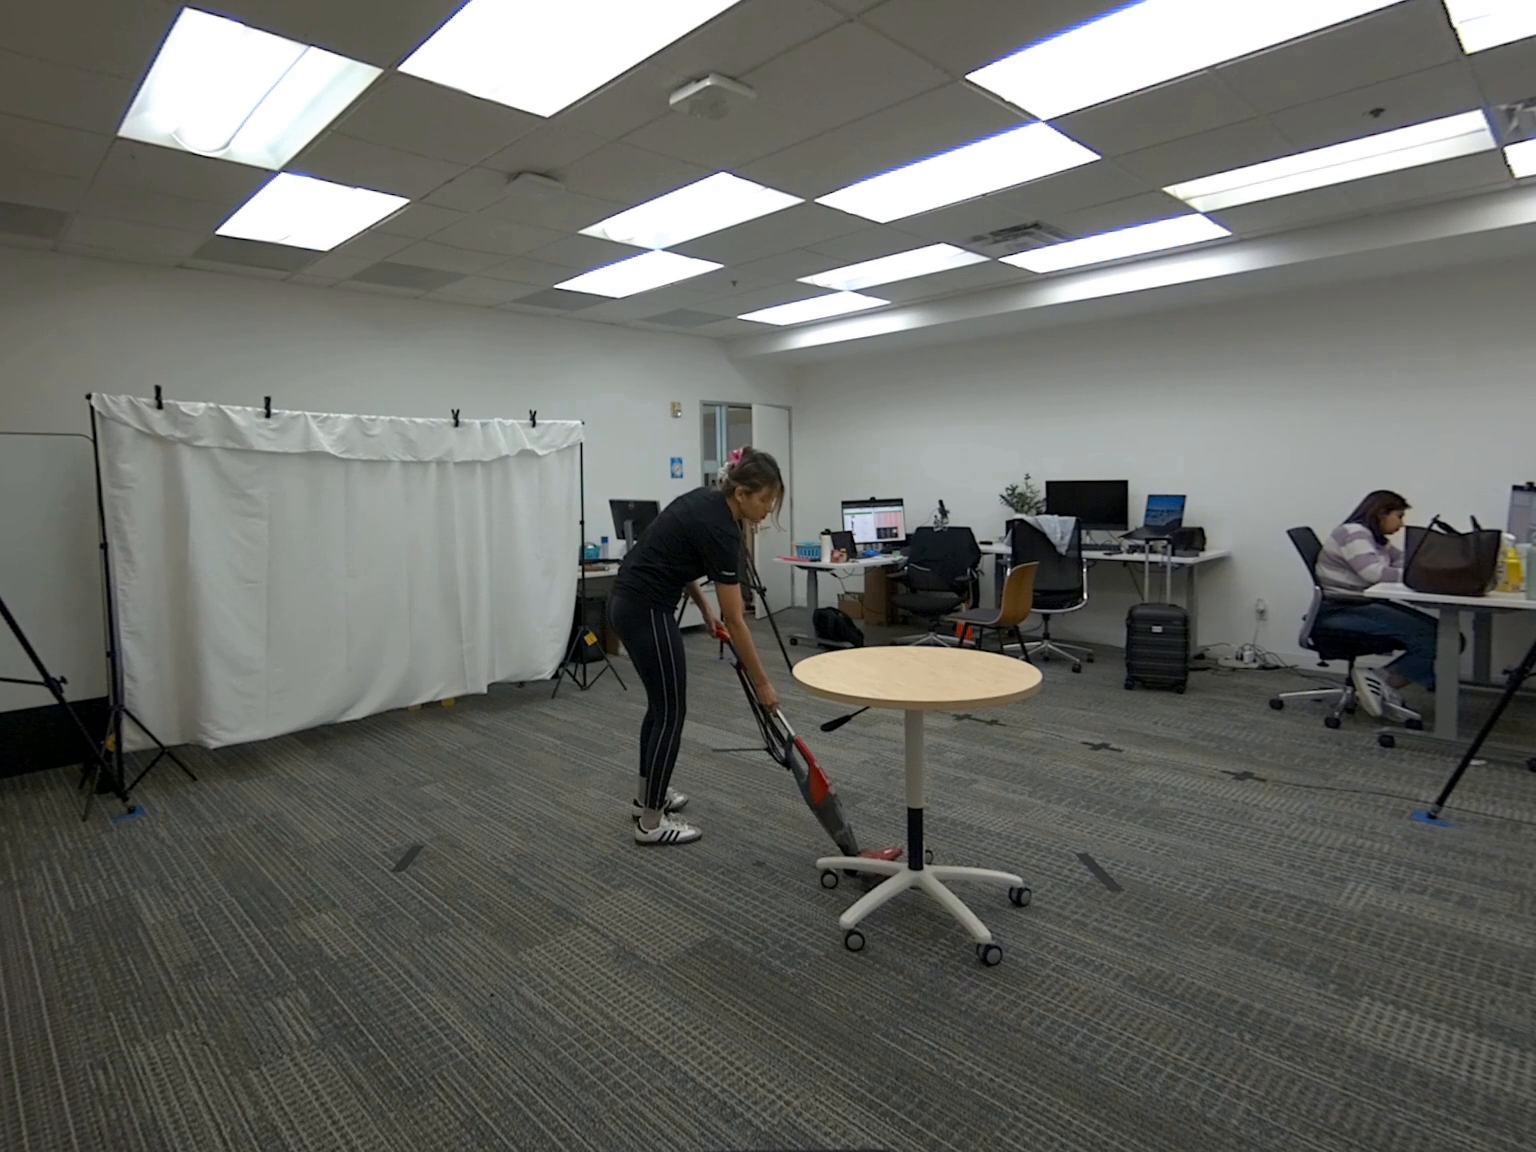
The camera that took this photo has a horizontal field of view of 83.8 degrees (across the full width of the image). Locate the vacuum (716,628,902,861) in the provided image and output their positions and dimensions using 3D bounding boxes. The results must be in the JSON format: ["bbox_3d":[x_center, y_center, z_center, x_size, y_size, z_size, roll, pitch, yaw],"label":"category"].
[{"bbox_3d":[0.073,0.616,3.218,0.246,1.077,0.144,-7,-35,-52],"label":"vacuum"}]
